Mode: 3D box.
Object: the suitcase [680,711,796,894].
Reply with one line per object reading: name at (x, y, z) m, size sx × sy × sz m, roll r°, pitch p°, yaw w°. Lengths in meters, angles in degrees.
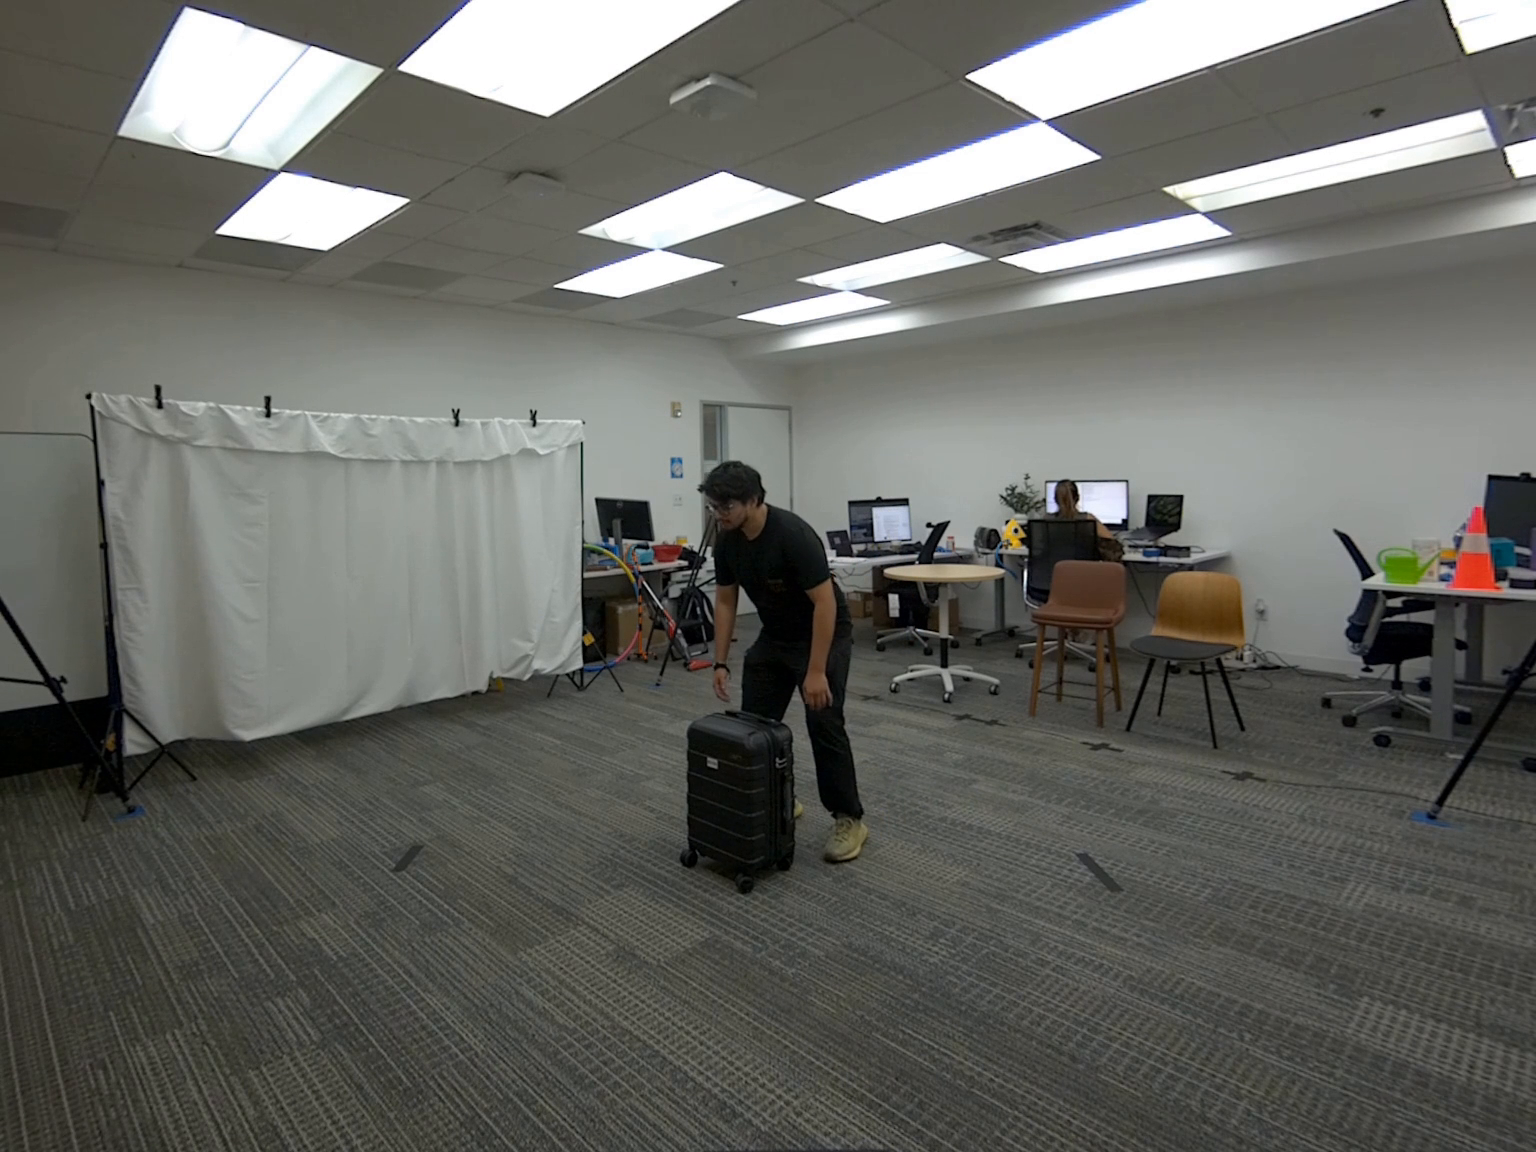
suitcase at (-0.102, 0.776, 3.067) m, size 0.387 × 0.548 × 0.241 m, roll 4°, pitch 5°, yaw 44°
